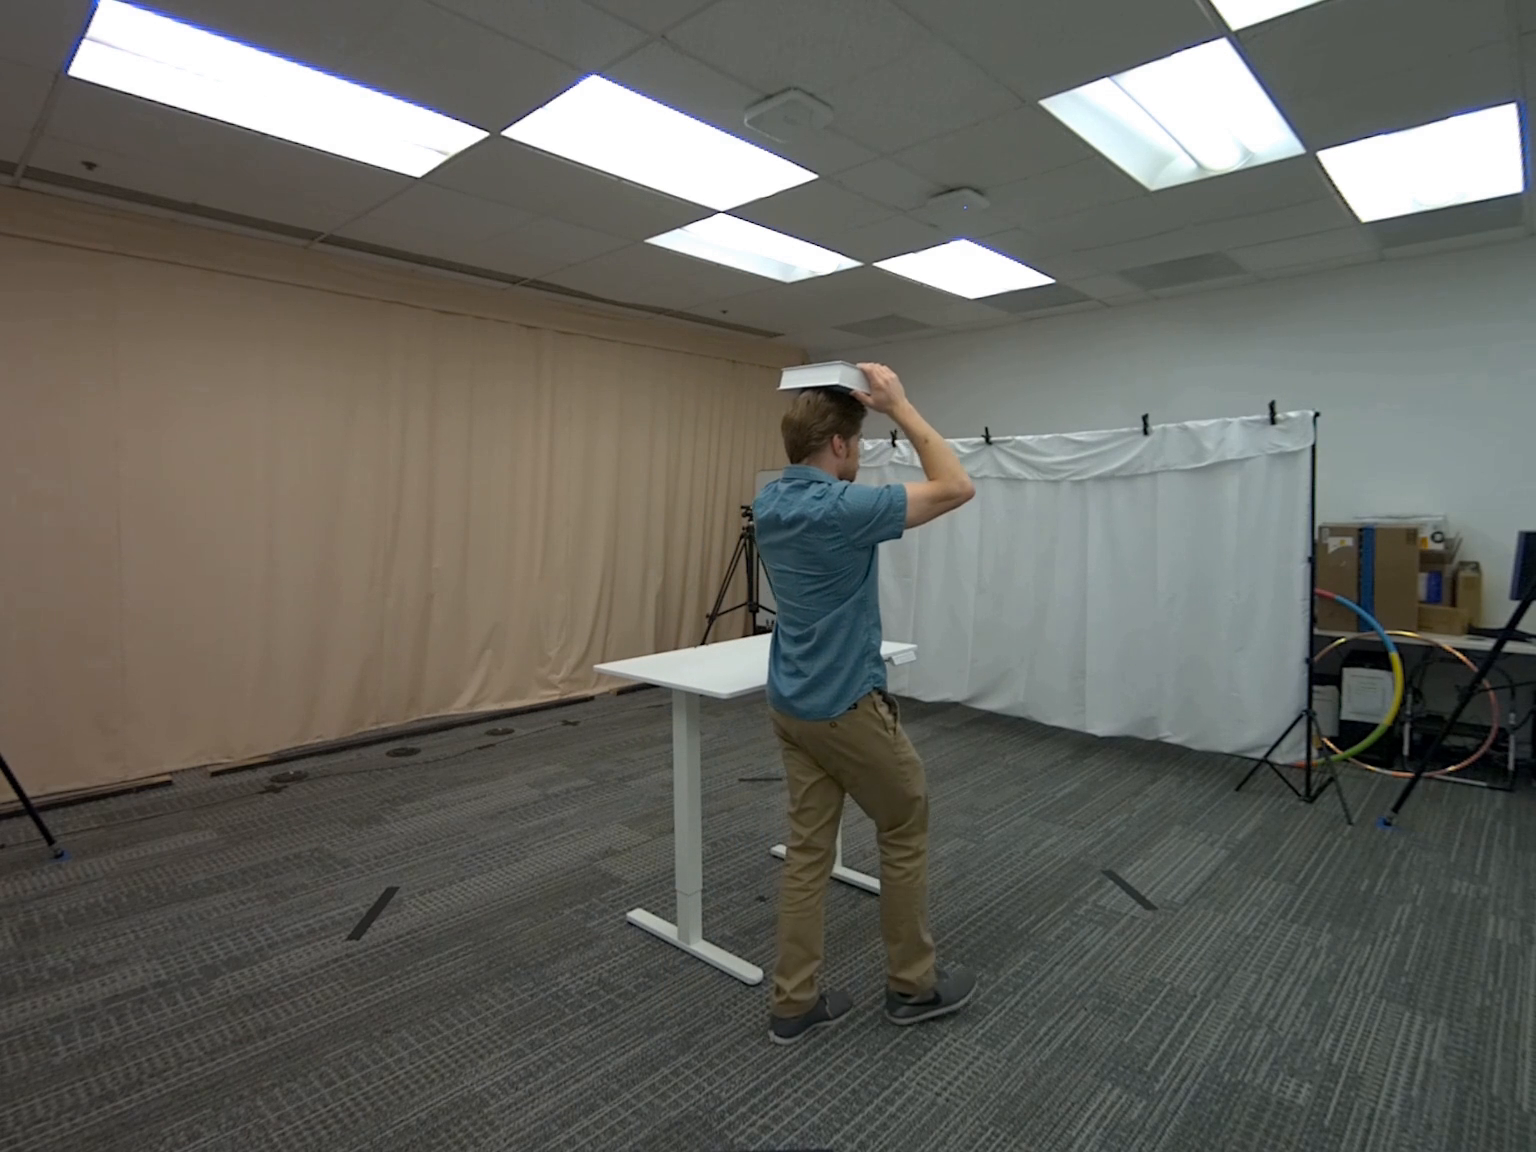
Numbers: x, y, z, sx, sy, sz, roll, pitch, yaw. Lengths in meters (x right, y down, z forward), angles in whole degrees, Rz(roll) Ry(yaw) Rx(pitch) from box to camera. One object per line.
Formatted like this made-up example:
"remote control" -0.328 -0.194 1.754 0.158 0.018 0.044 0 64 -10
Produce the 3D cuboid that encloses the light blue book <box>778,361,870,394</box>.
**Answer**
"light blue book" 0.179 -0.496 2.186 0.185 0.059 0.270 9 4 -35
